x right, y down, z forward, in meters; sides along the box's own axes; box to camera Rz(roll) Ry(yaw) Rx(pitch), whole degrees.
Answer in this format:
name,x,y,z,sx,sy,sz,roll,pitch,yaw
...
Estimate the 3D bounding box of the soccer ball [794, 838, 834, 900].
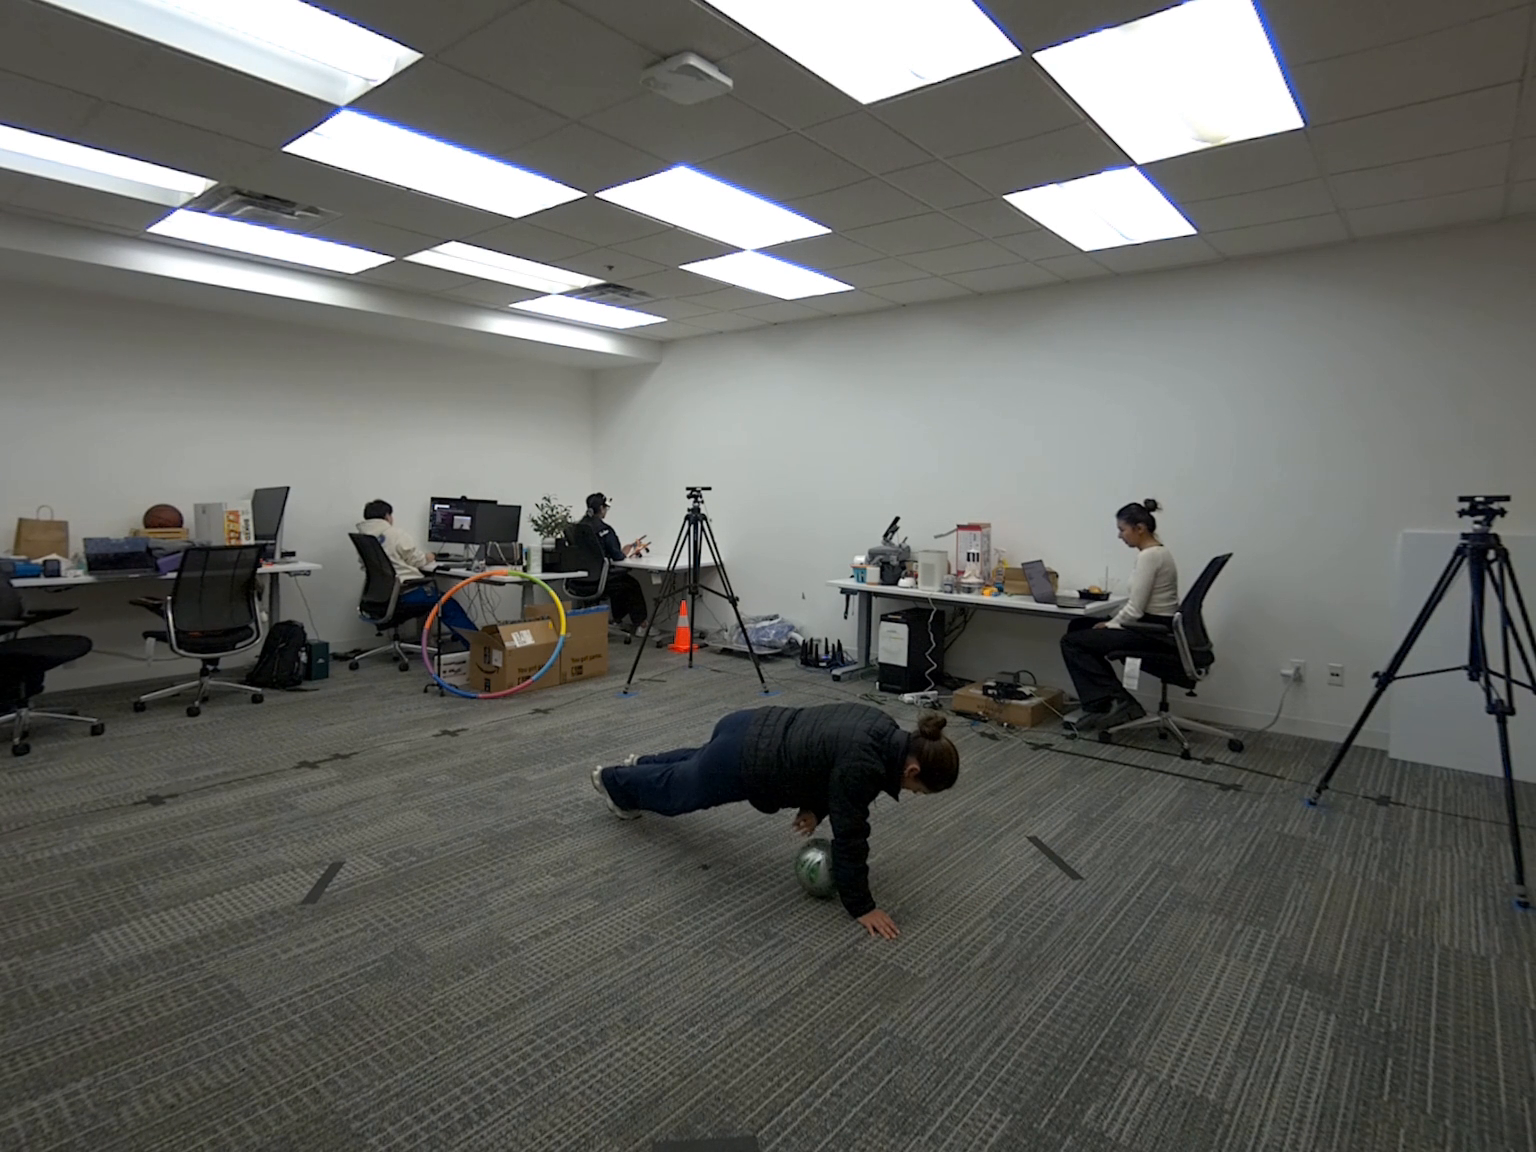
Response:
name,x,y,z,sx,sy,sz,roll,pitch,yaw
soccer ball,0.178,1.001,2.921,0.187,0.187,0.188,1,4,-2
